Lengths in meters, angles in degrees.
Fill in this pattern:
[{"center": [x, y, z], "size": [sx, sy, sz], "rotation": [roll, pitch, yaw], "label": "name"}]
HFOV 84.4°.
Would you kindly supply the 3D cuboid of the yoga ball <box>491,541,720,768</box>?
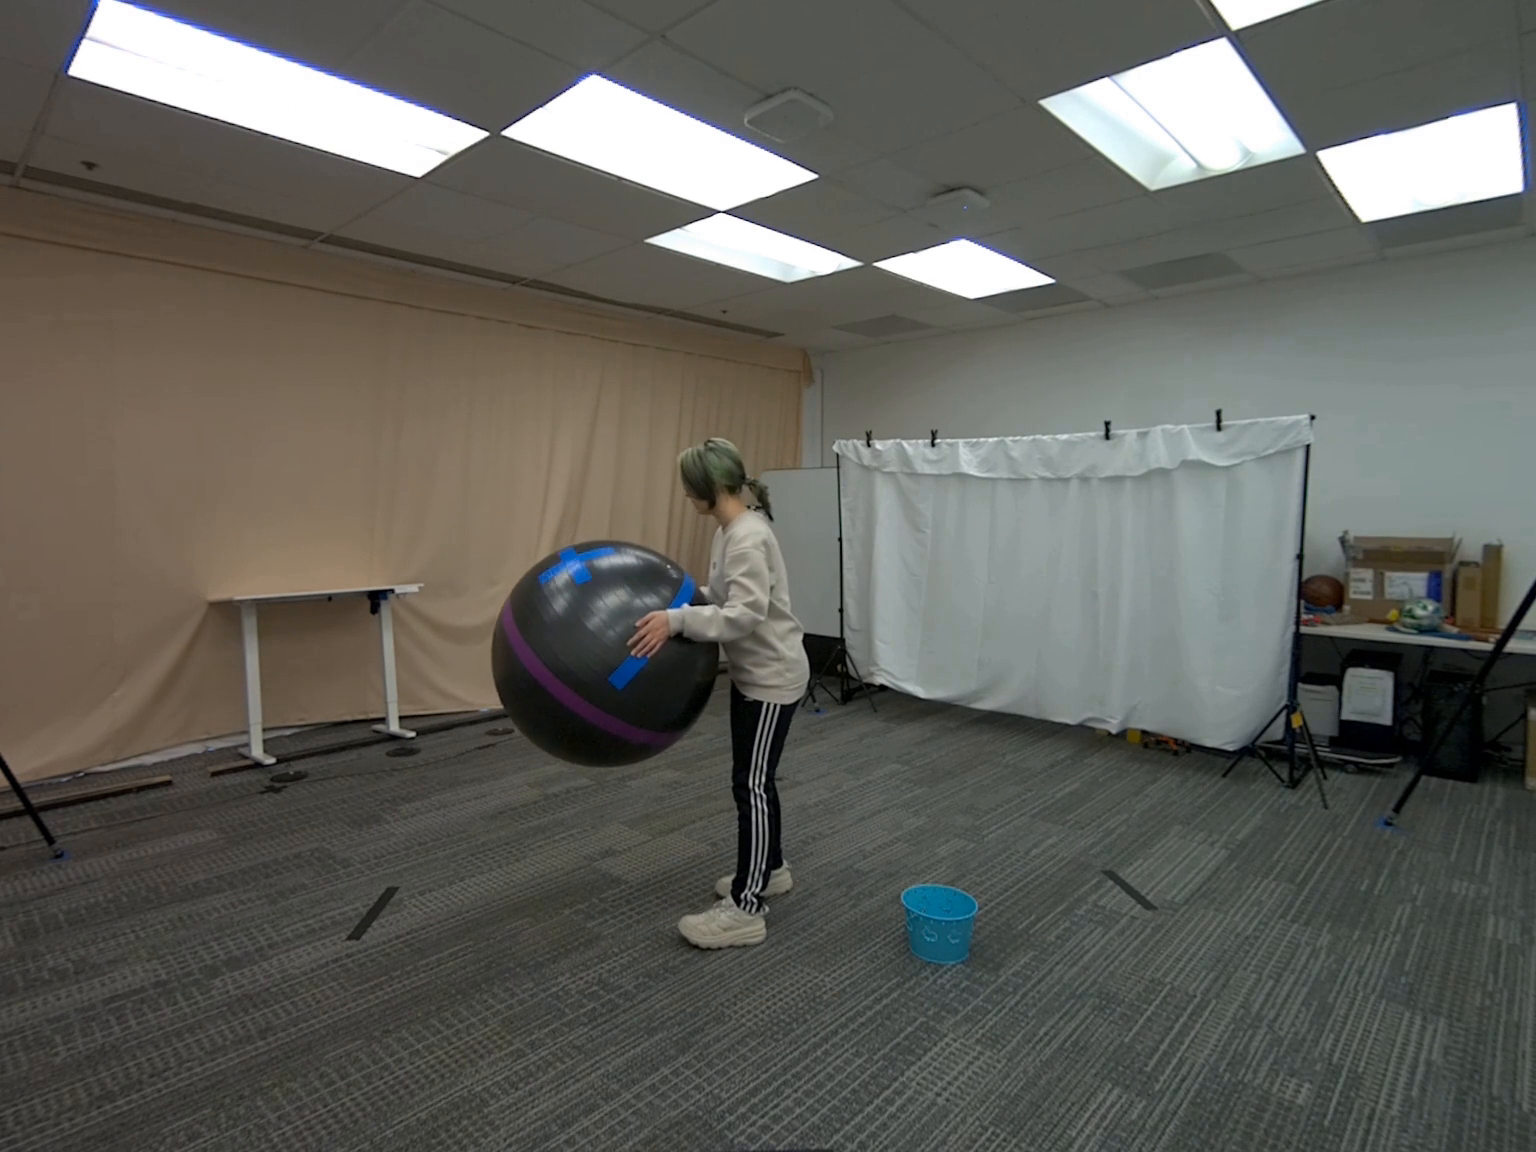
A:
[{"center": [-0.547, 0.271, 2.845], "size": [0.757, 0.756, 0.760], "rotation": [0, 4, -2], "label": "yoga ball"}]
